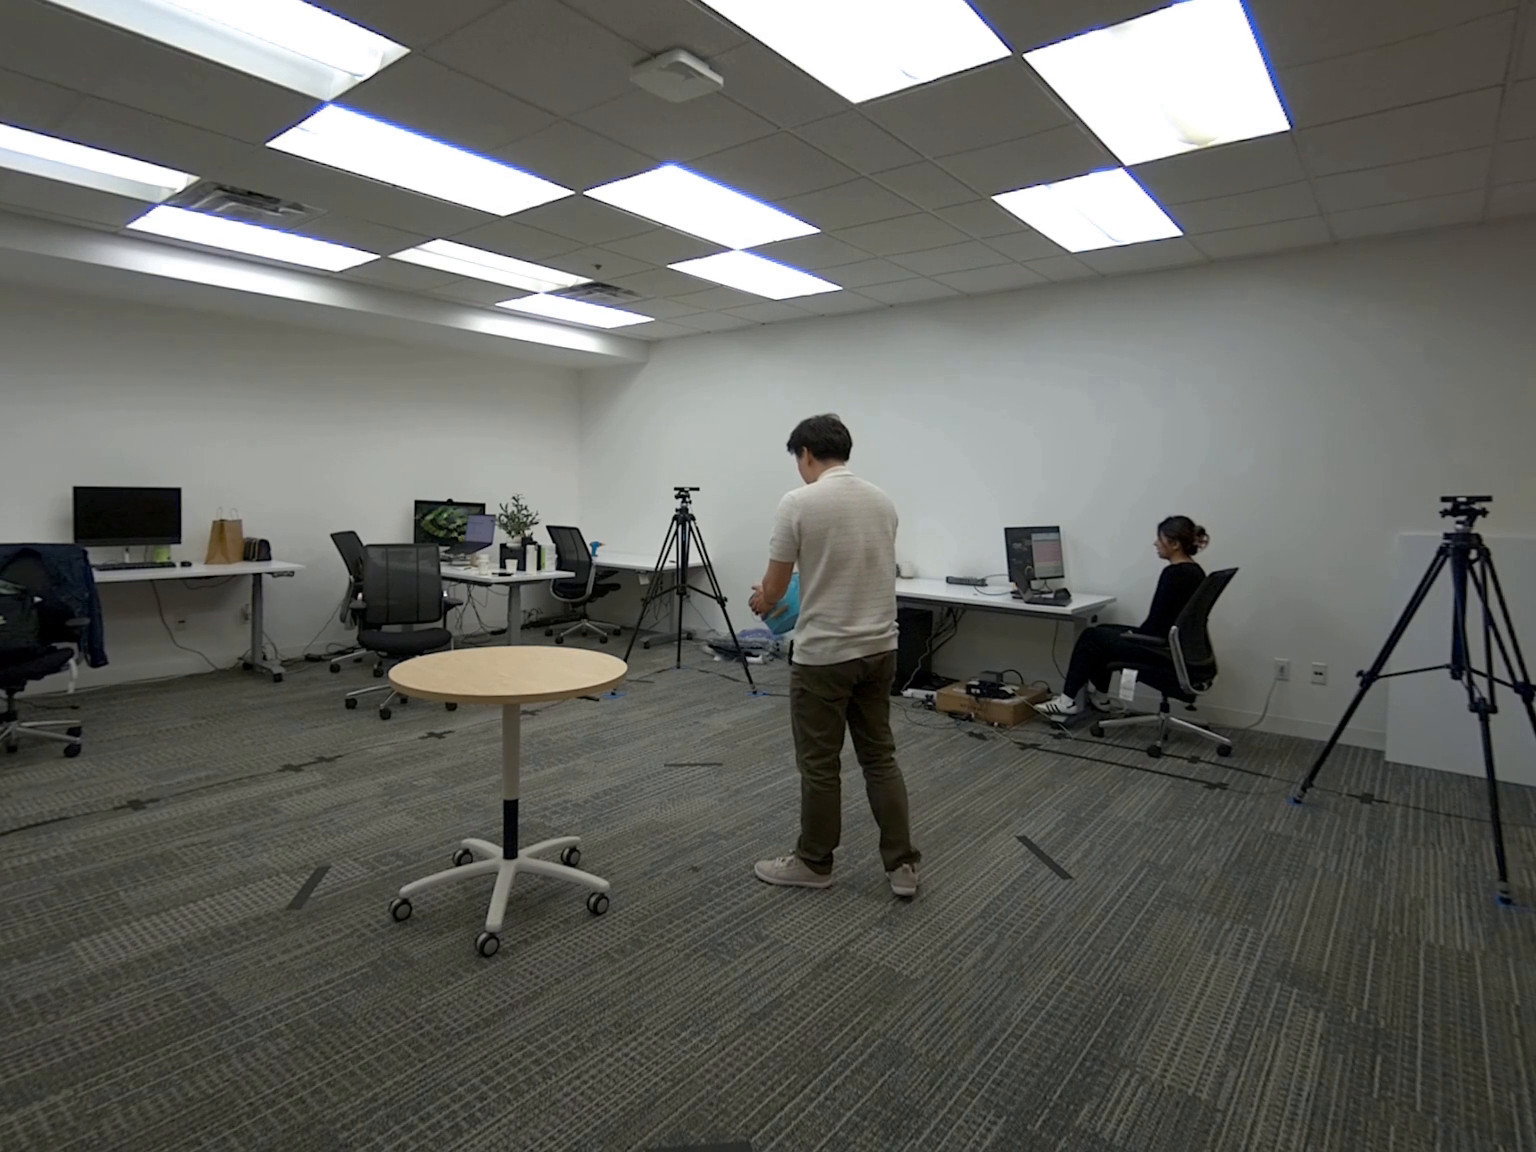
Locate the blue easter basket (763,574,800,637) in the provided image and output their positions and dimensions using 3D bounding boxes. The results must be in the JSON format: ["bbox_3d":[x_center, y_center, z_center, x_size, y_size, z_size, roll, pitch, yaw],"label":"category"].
[{"bbox_3d":[0.051,0.116,3.253,0.242,0.160,0.238,-25,-21,-12],"label":"blue easter basket"}]
